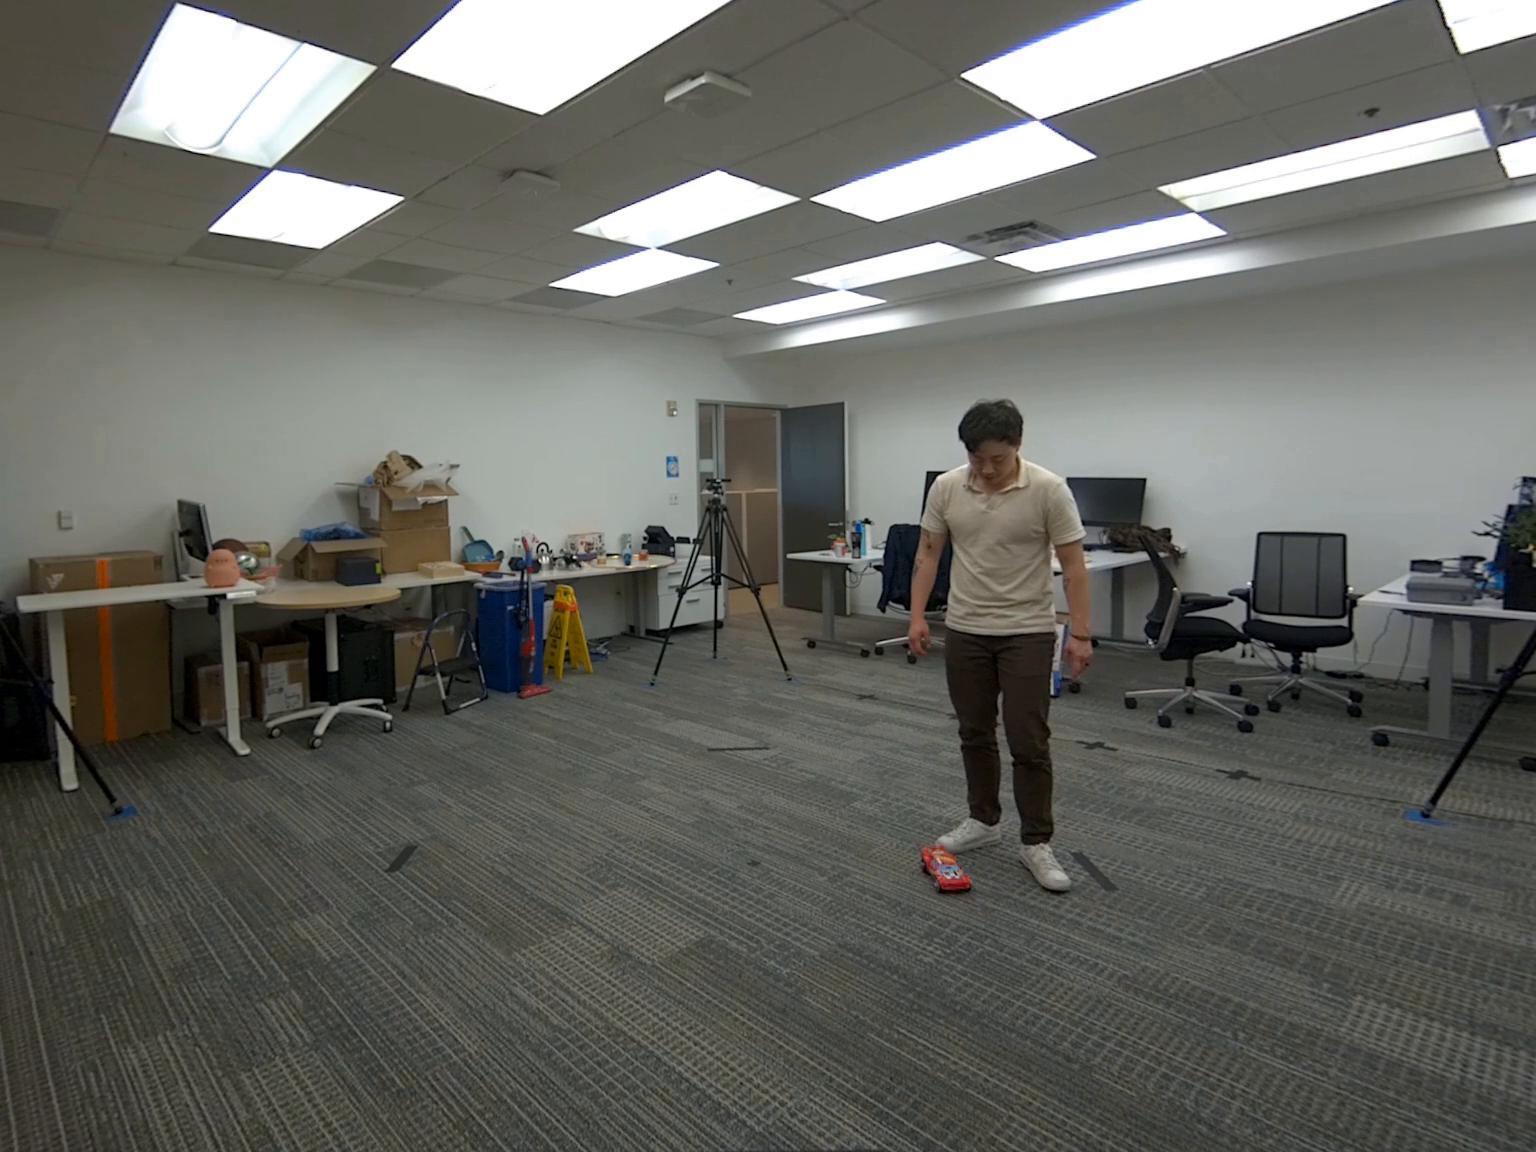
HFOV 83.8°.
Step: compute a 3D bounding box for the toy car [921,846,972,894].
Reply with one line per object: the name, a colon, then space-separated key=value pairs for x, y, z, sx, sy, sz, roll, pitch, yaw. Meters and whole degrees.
toy car: x=0.614 y=1.020 z=2.963 sx=0.129 sy=0.082 sz=0.259 roll=-2 pitch=17 yaw=-7
